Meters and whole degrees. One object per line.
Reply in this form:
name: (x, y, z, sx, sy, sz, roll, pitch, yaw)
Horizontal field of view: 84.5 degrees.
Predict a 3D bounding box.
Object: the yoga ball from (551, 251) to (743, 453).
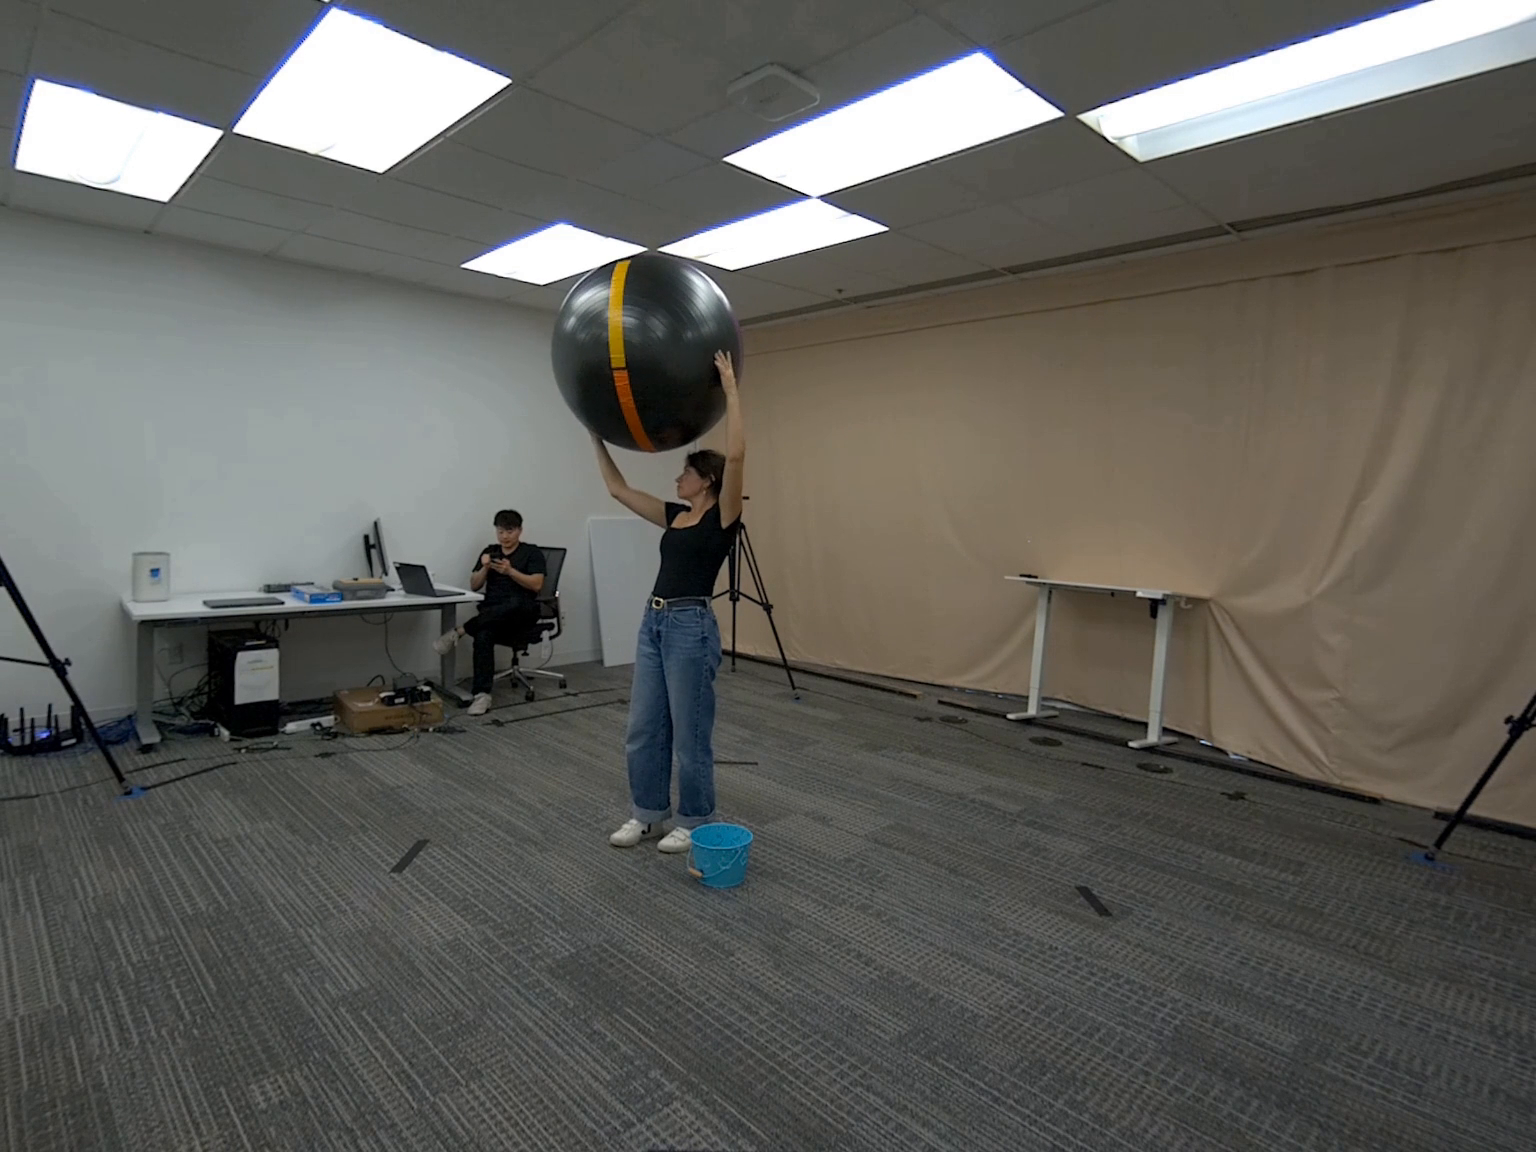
yoga ball: (-0.477, -0.869, 3.338, 0.757, 0.756, 0.761, 1, 4, -1)
